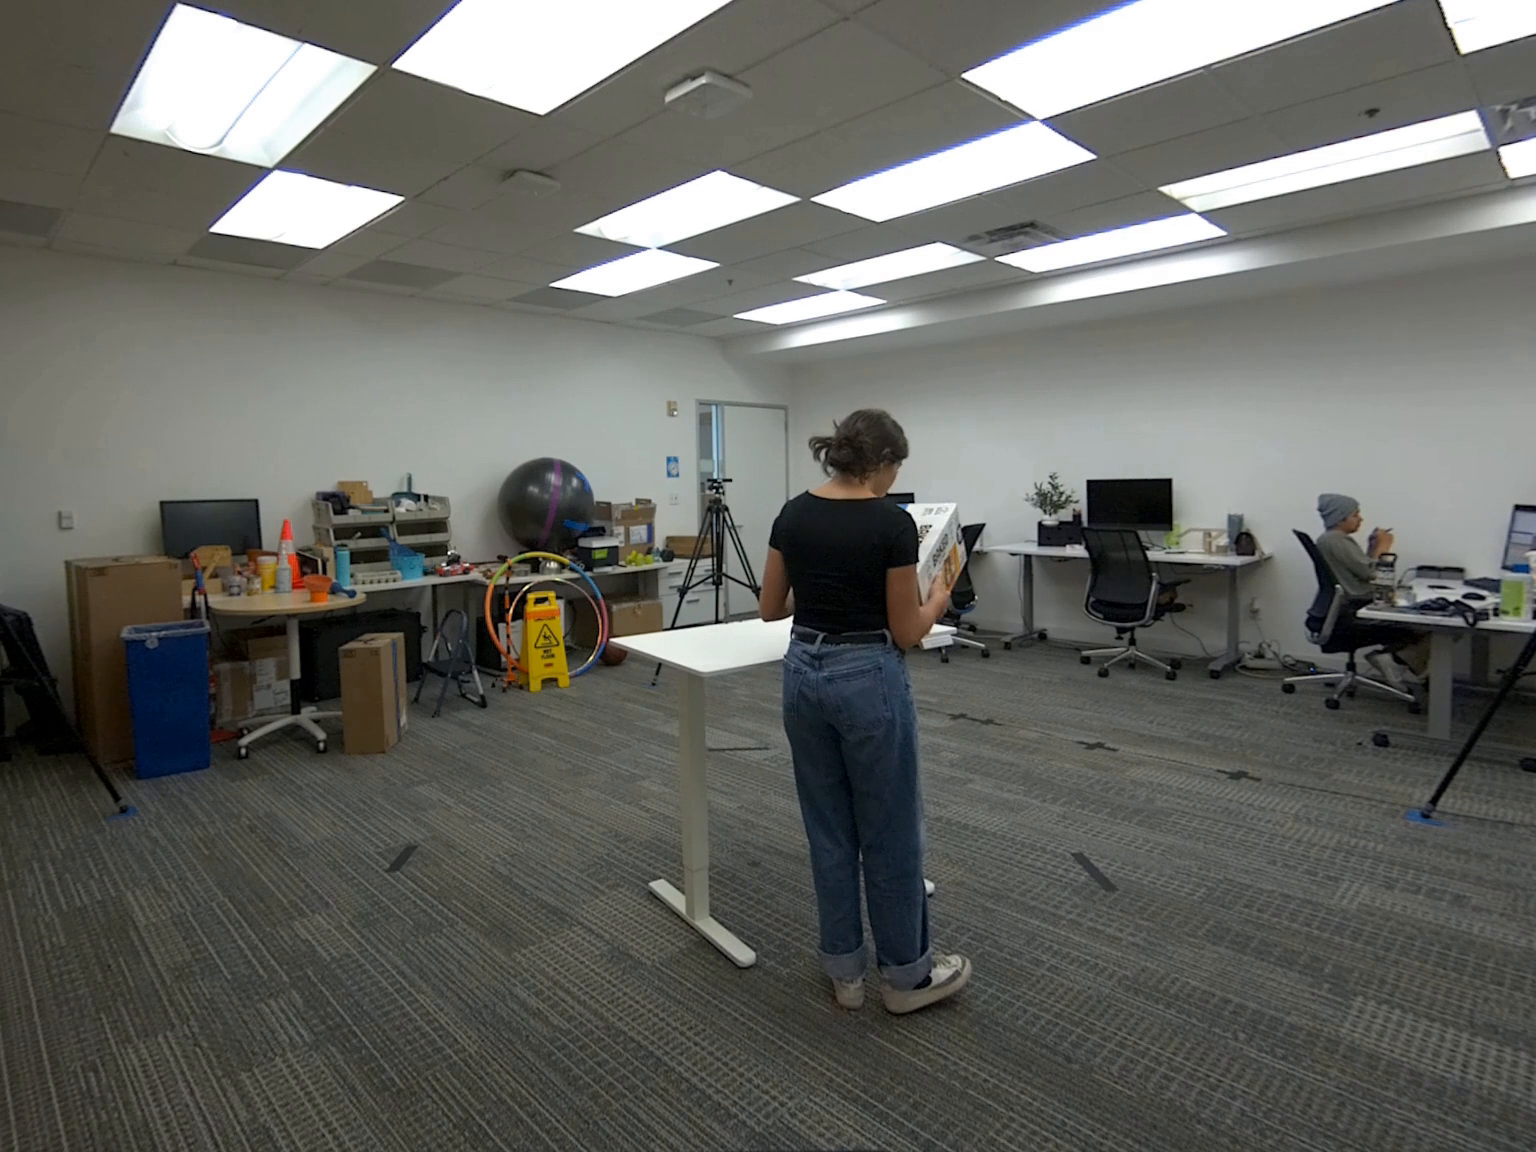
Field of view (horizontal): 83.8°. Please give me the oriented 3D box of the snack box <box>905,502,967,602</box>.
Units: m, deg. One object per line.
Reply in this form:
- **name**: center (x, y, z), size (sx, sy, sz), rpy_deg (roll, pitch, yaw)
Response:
- **snack box**: center (0.367, -0.032, 2.543), size (0.349, 0.200, 0.406), rpy_deg (0, 32, 31)
